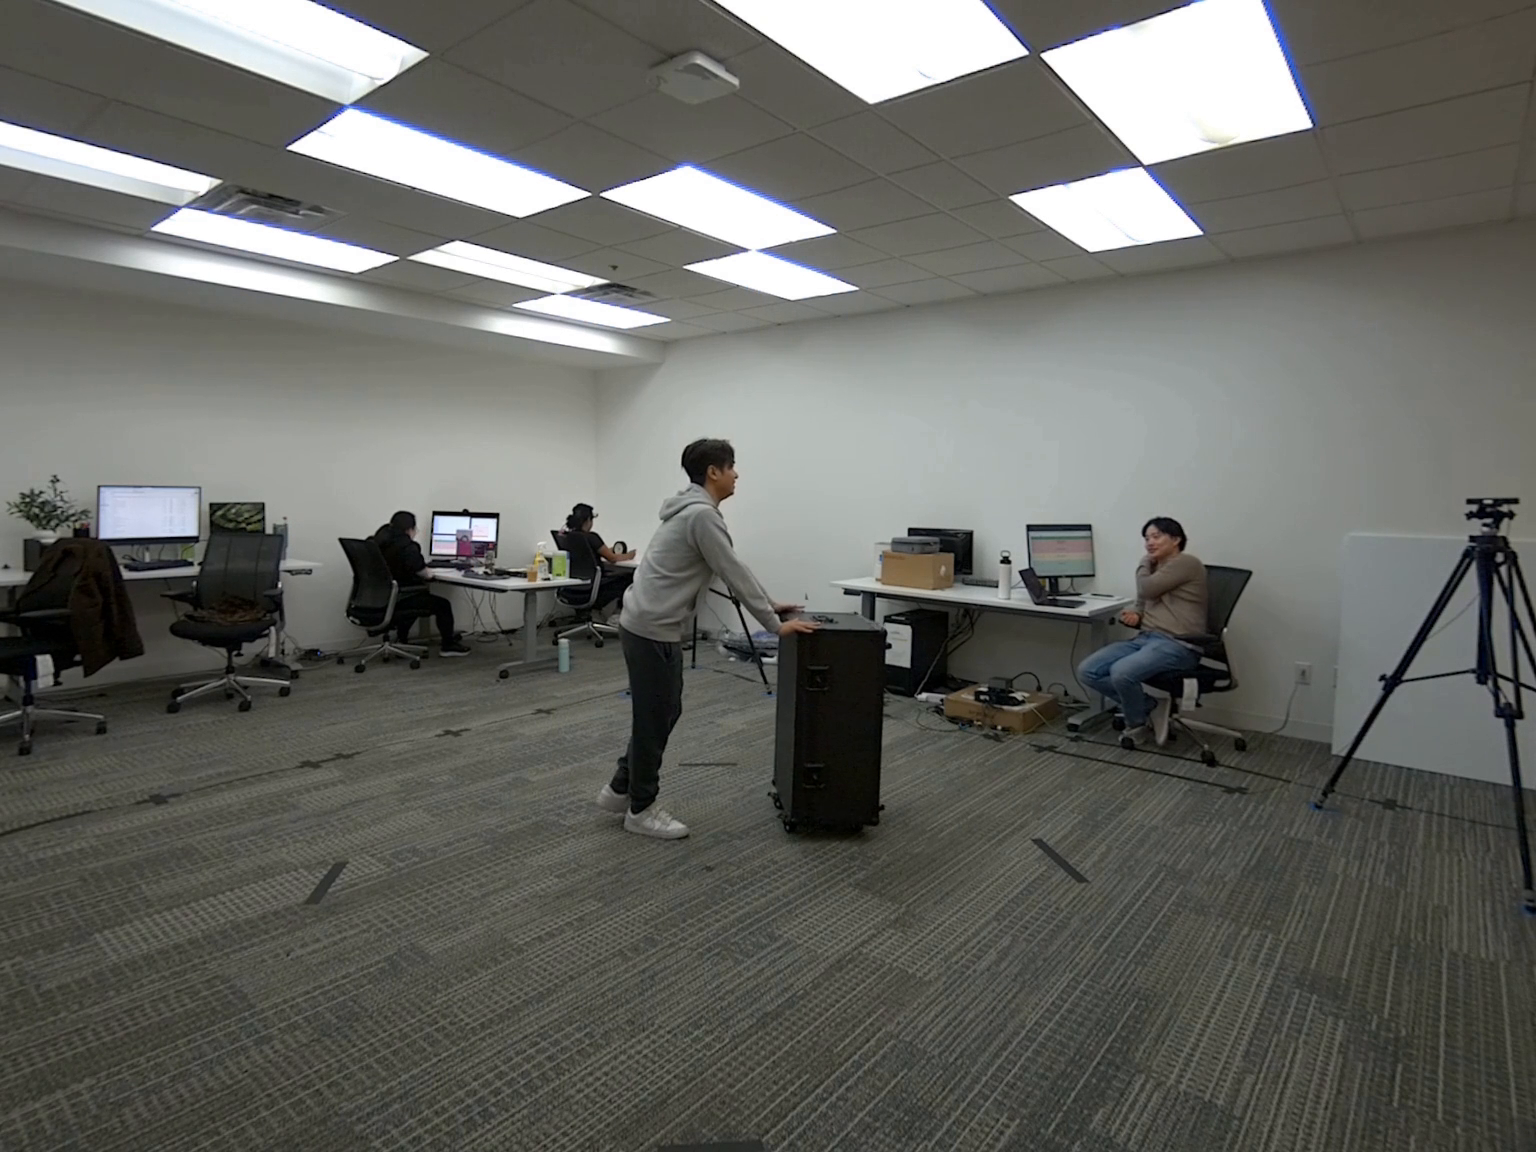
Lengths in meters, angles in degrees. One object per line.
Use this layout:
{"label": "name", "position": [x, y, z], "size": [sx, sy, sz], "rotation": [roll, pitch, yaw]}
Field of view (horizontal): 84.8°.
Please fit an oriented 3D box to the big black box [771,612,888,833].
{"label": "big black box", "position": [0.244, 0.609, 3.585], "size": [0.394, 0.859, 0.526], "rotation": [2, 3, -7]}
